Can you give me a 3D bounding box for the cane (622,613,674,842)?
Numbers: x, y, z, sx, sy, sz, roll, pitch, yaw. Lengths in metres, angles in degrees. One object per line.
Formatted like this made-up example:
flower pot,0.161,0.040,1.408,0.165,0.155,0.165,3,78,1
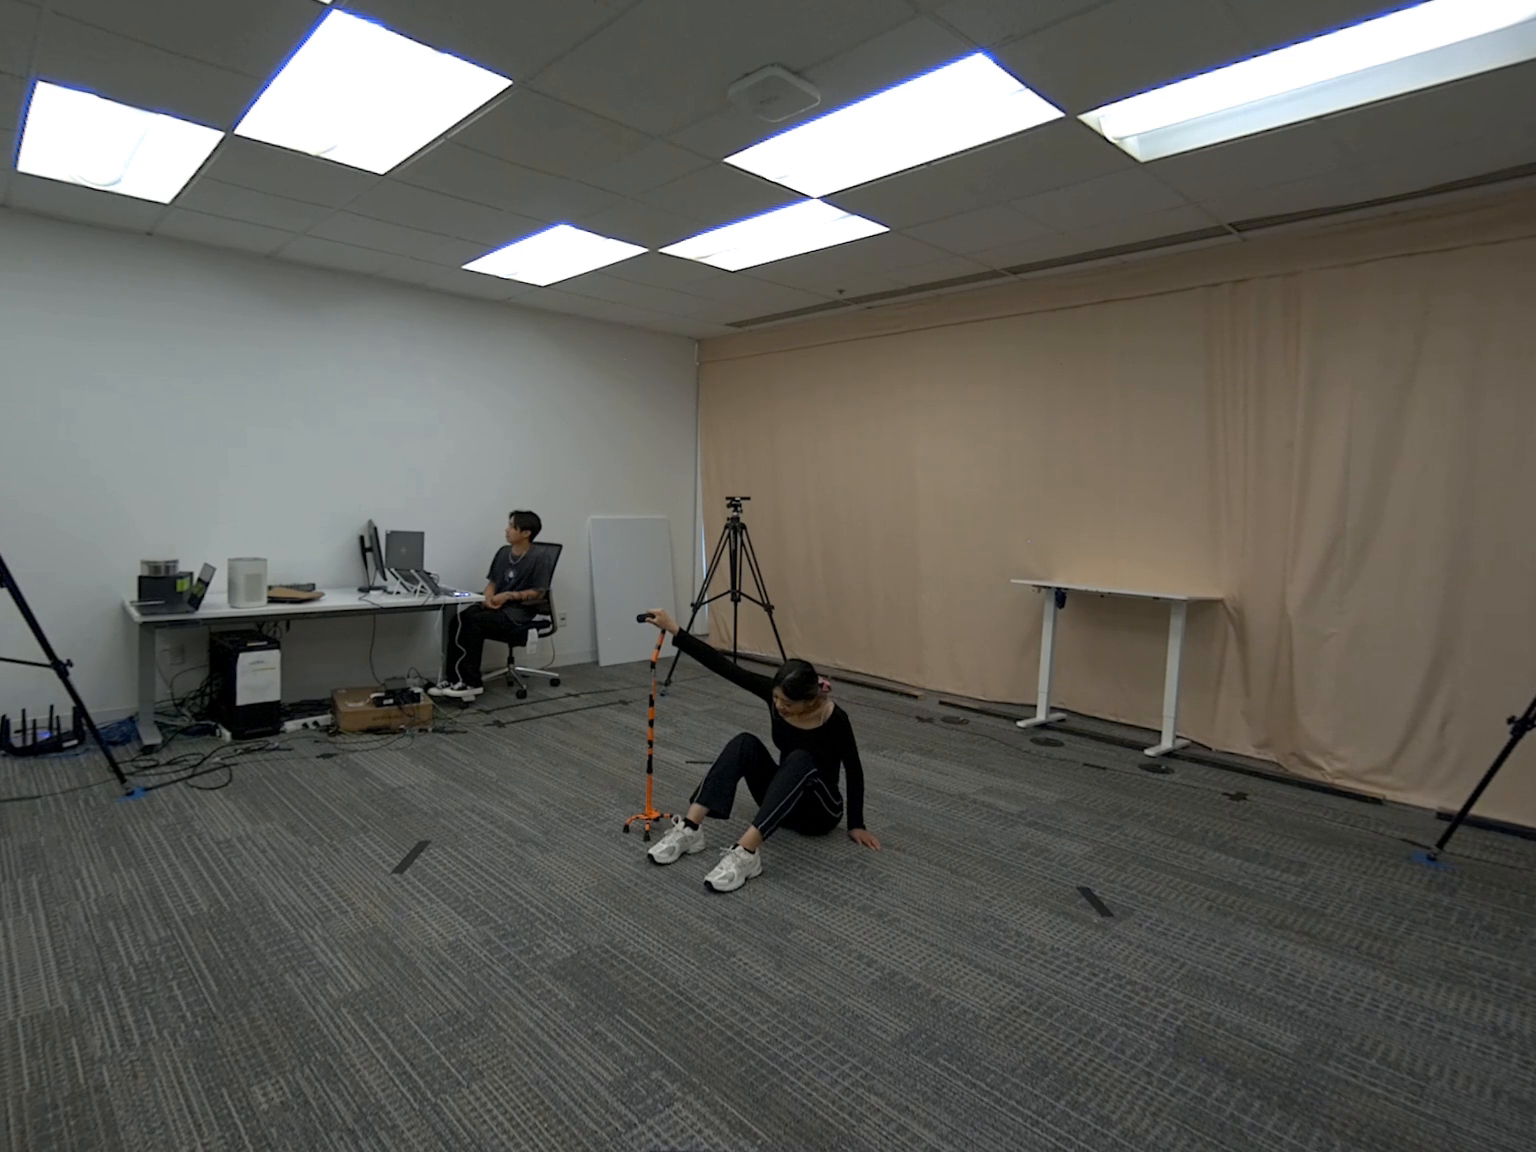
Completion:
cane,-0.475,0.601,3.501,0.155,0.906,0.202,4,4,39
